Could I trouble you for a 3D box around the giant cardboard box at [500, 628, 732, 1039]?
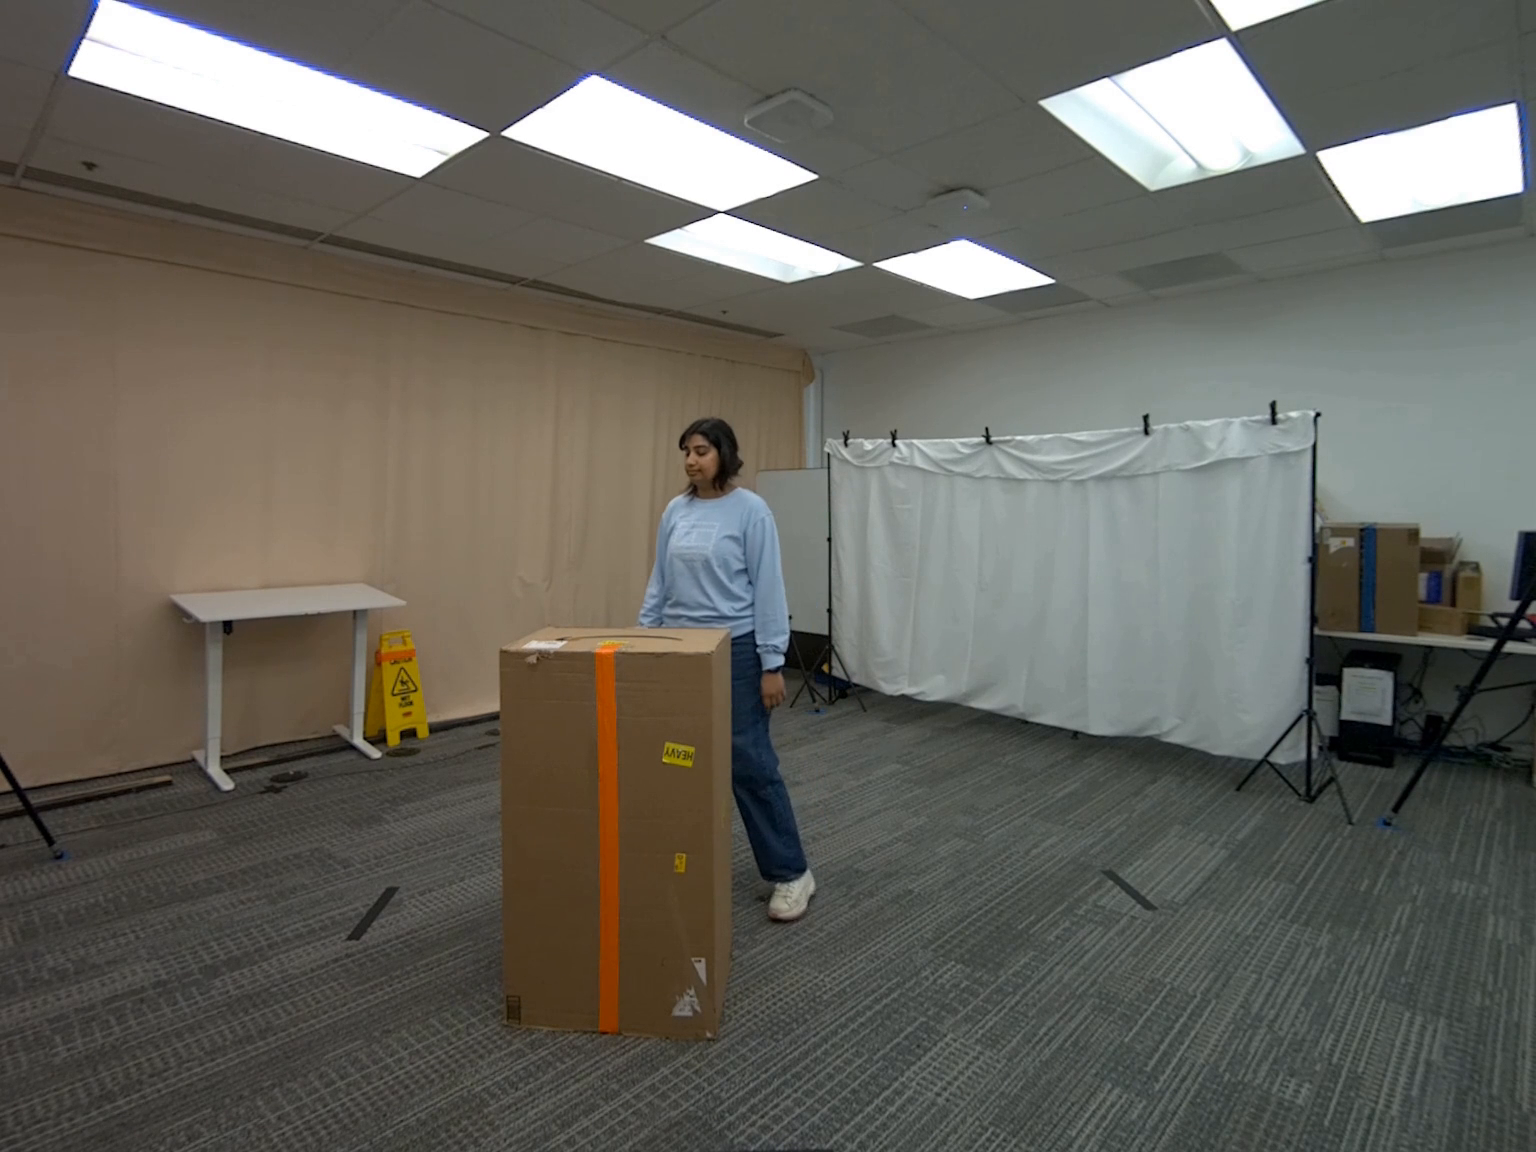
[{"bbox_3d":[-0.413,0.686,2.405,0.582,1.024,0.424,0,3,6],"label":"giant cardboard box"}]
